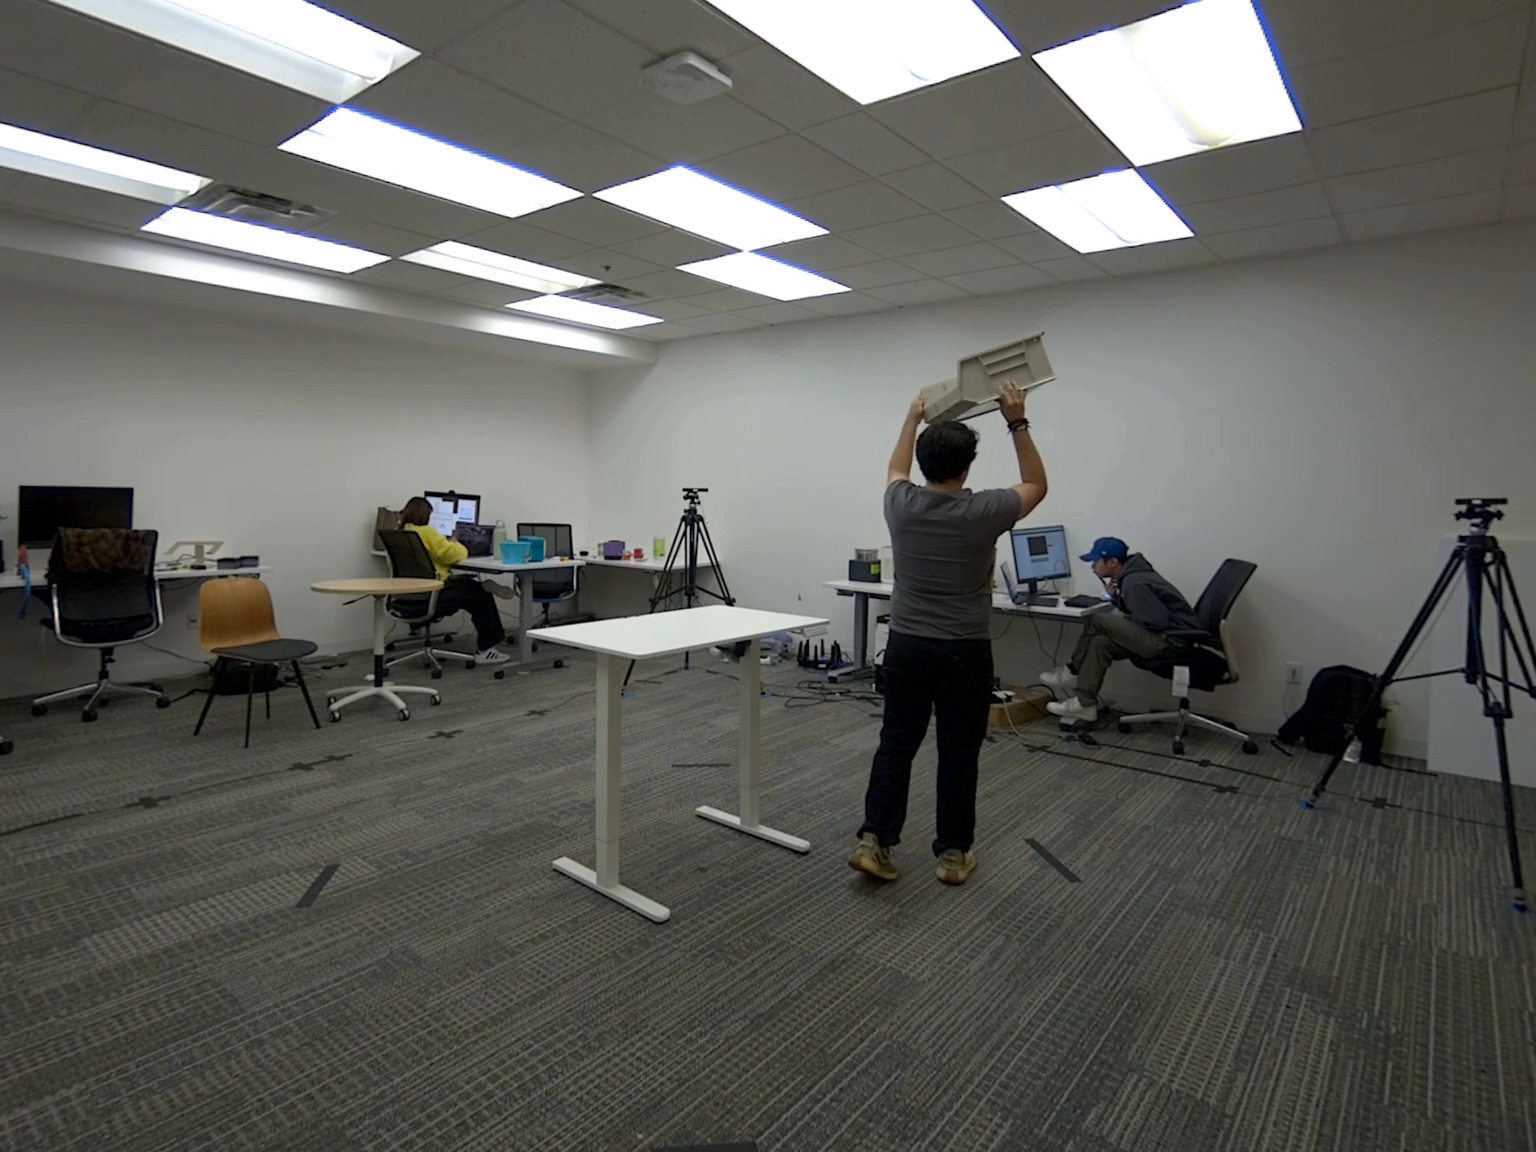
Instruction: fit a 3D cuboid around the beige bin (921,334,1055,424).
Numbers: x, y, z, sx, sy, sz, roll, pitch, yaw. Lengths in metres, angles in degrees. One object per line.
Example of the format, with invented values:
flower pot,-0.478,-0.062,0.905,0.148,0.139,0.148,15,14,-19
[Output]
beige bin,0.797,-0.728,3.243,0.375,0.190,0.423,-18,-1,-9
